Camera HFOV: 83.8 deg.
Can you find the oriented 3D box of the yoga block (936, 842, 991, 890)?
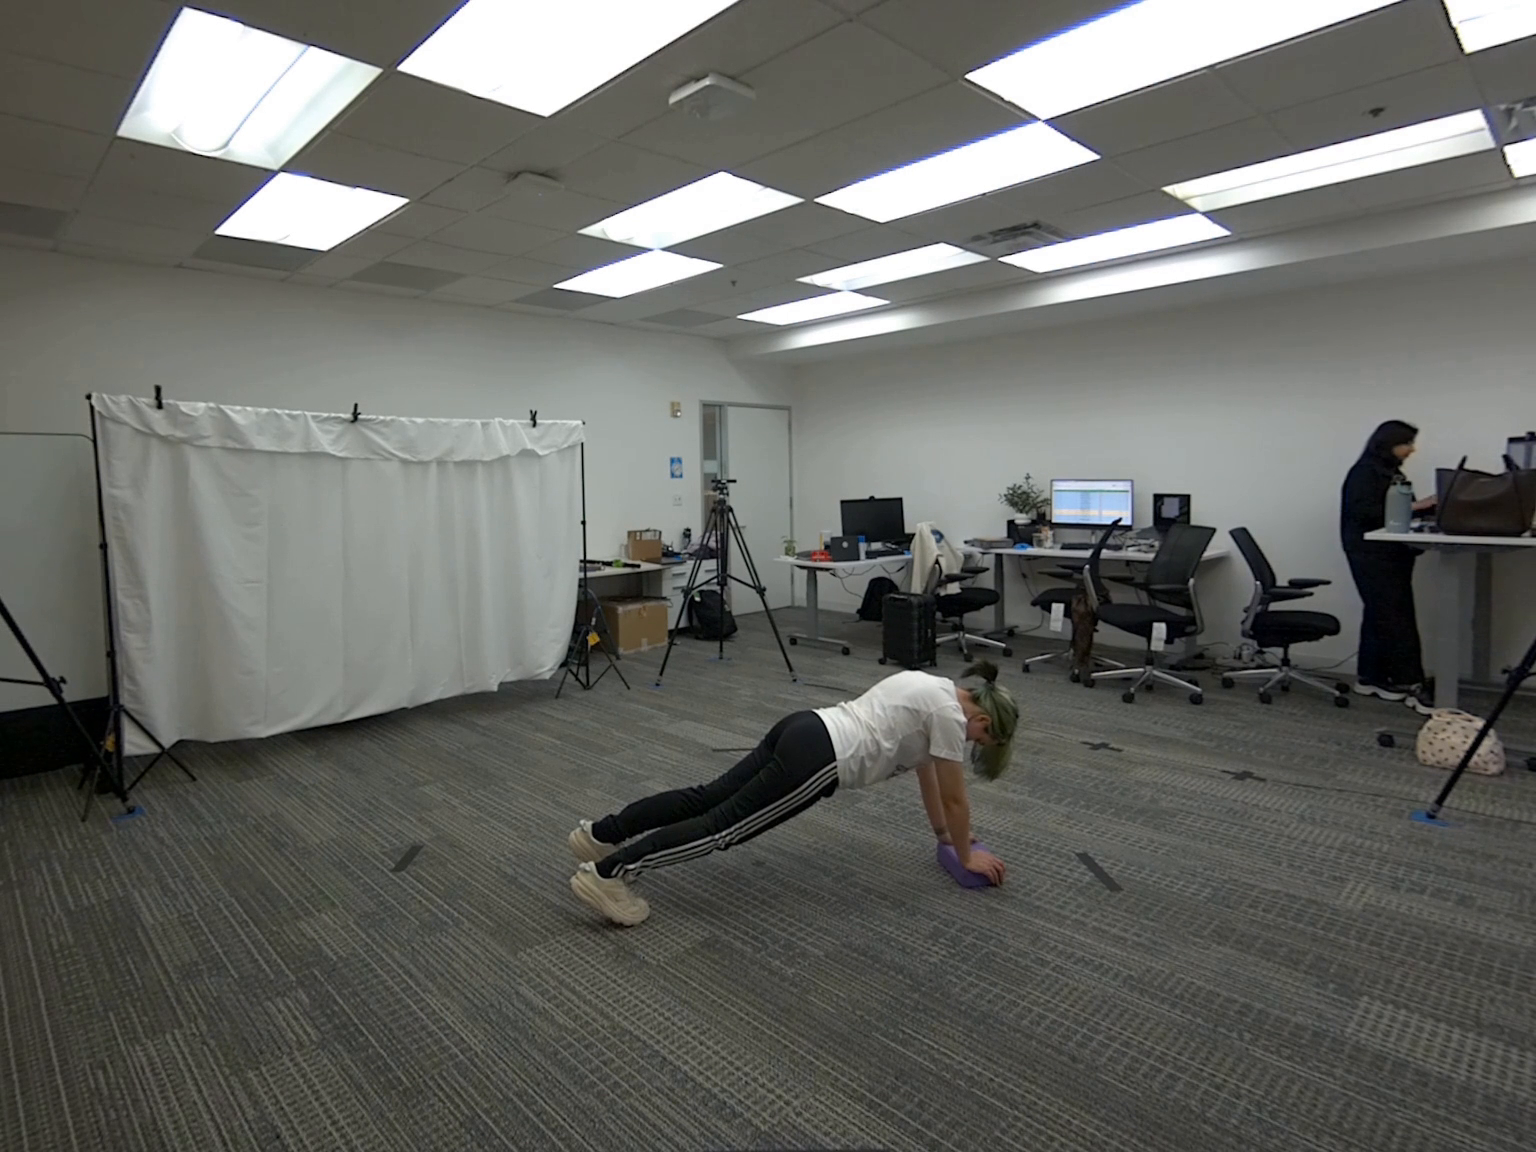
[{"bbox_3d":[0.704,1.005,3.006,0.148,0.076,0.232,-2,5,-9],"label":"yoga block"}]
